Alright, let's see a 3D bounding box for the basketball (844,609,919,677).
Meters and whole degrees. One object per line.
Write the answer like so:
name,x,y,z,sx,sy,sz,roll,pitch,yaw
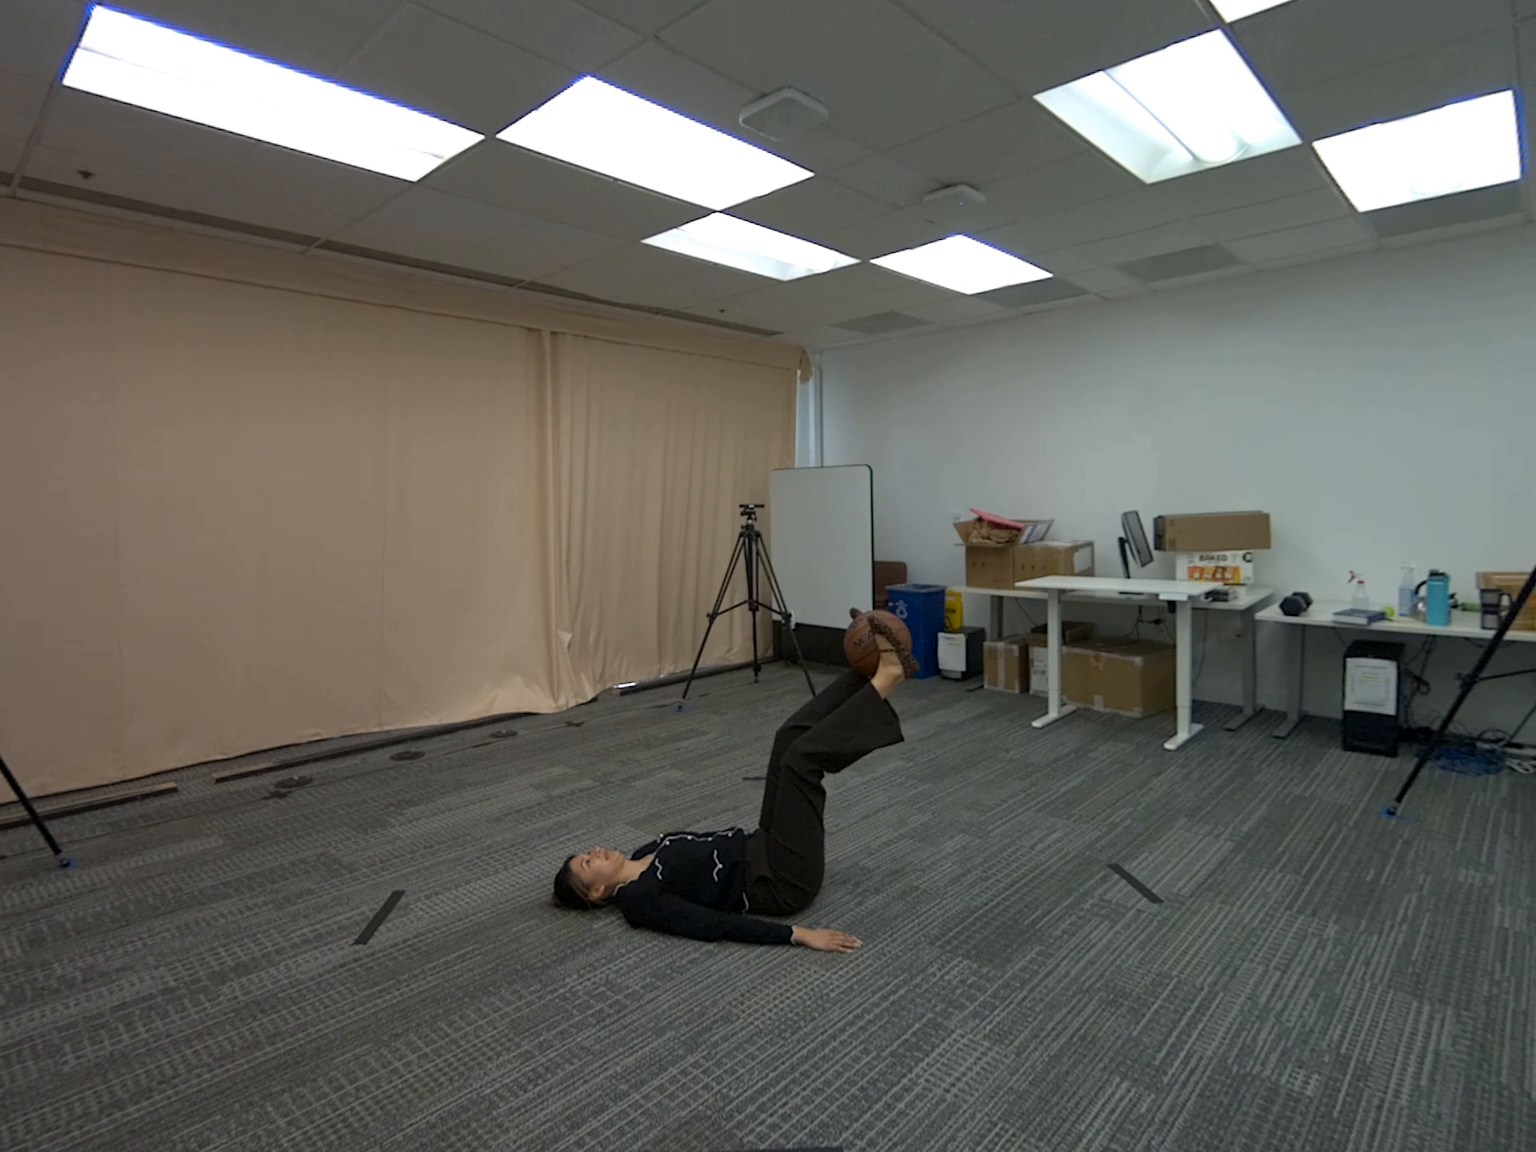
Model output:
basketball,0.391,0.239,2.984,0.236,0.236,0.236,0,1,-2
